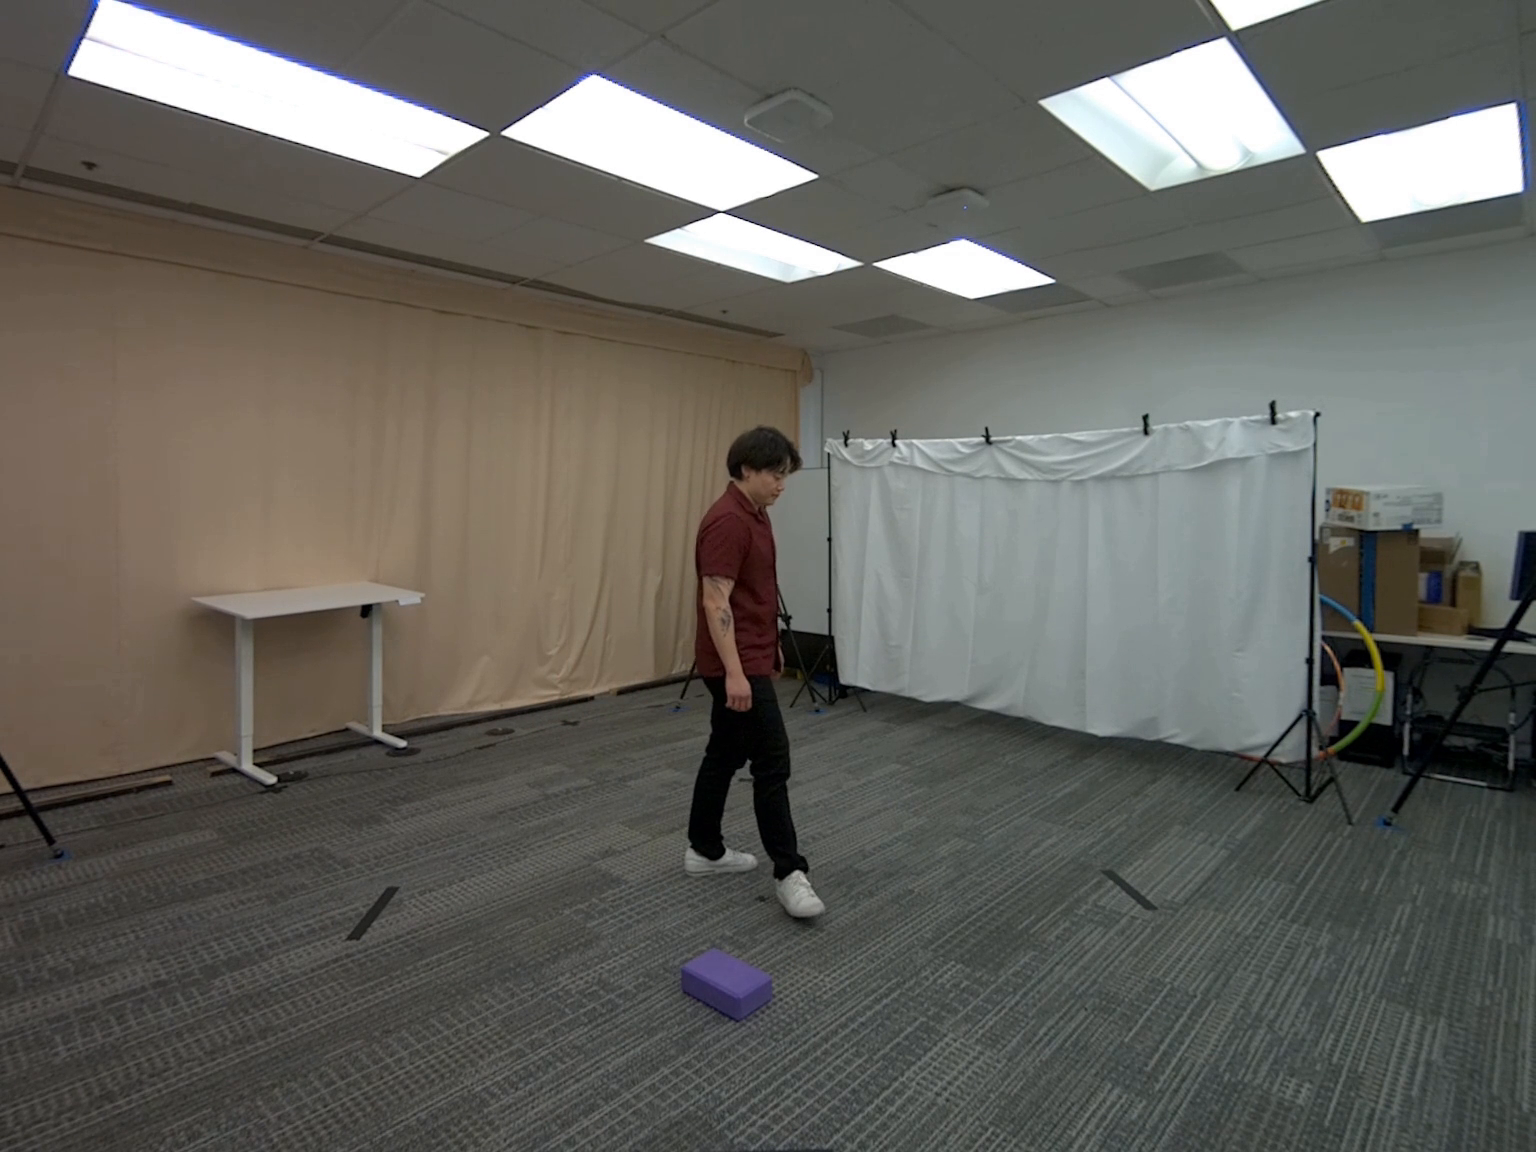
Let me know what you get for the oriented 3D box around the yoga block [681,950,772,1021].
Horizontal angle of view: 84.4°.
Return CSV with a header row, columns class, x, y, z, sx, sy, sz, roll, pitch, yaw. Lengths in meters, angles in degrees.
class,x,y,z,sx,sy,sz,roll,pitch,yaw
yoga block,-0.121,1.155,2.390,0.237,0.076,0.144,5,7,41
